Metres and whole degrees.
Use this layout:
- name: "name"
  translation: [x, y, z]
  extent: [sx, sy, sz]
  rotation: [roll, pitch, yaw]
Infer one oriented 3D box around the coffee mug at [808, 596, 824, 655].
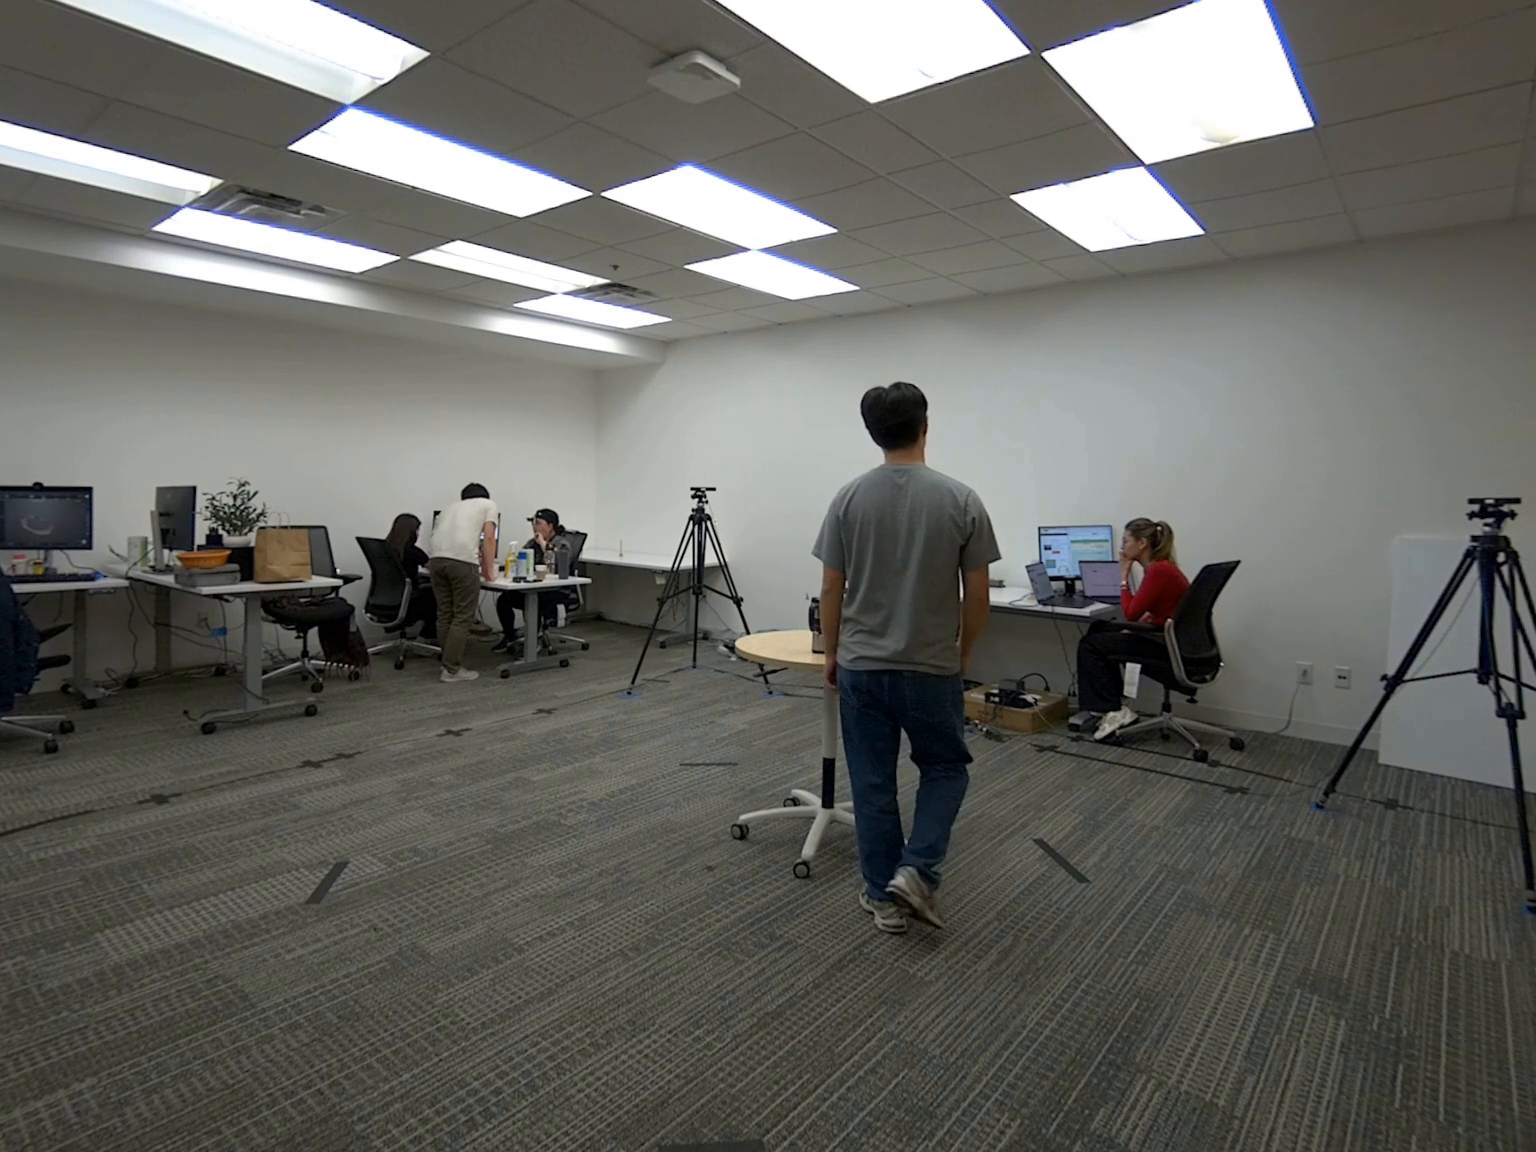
- name: "coffee mug"
  translation: [0.176, 0.184, 3.170]
  extent: [0.118, 0.202, 0.090]
  rotation: [4, 4, -28]
